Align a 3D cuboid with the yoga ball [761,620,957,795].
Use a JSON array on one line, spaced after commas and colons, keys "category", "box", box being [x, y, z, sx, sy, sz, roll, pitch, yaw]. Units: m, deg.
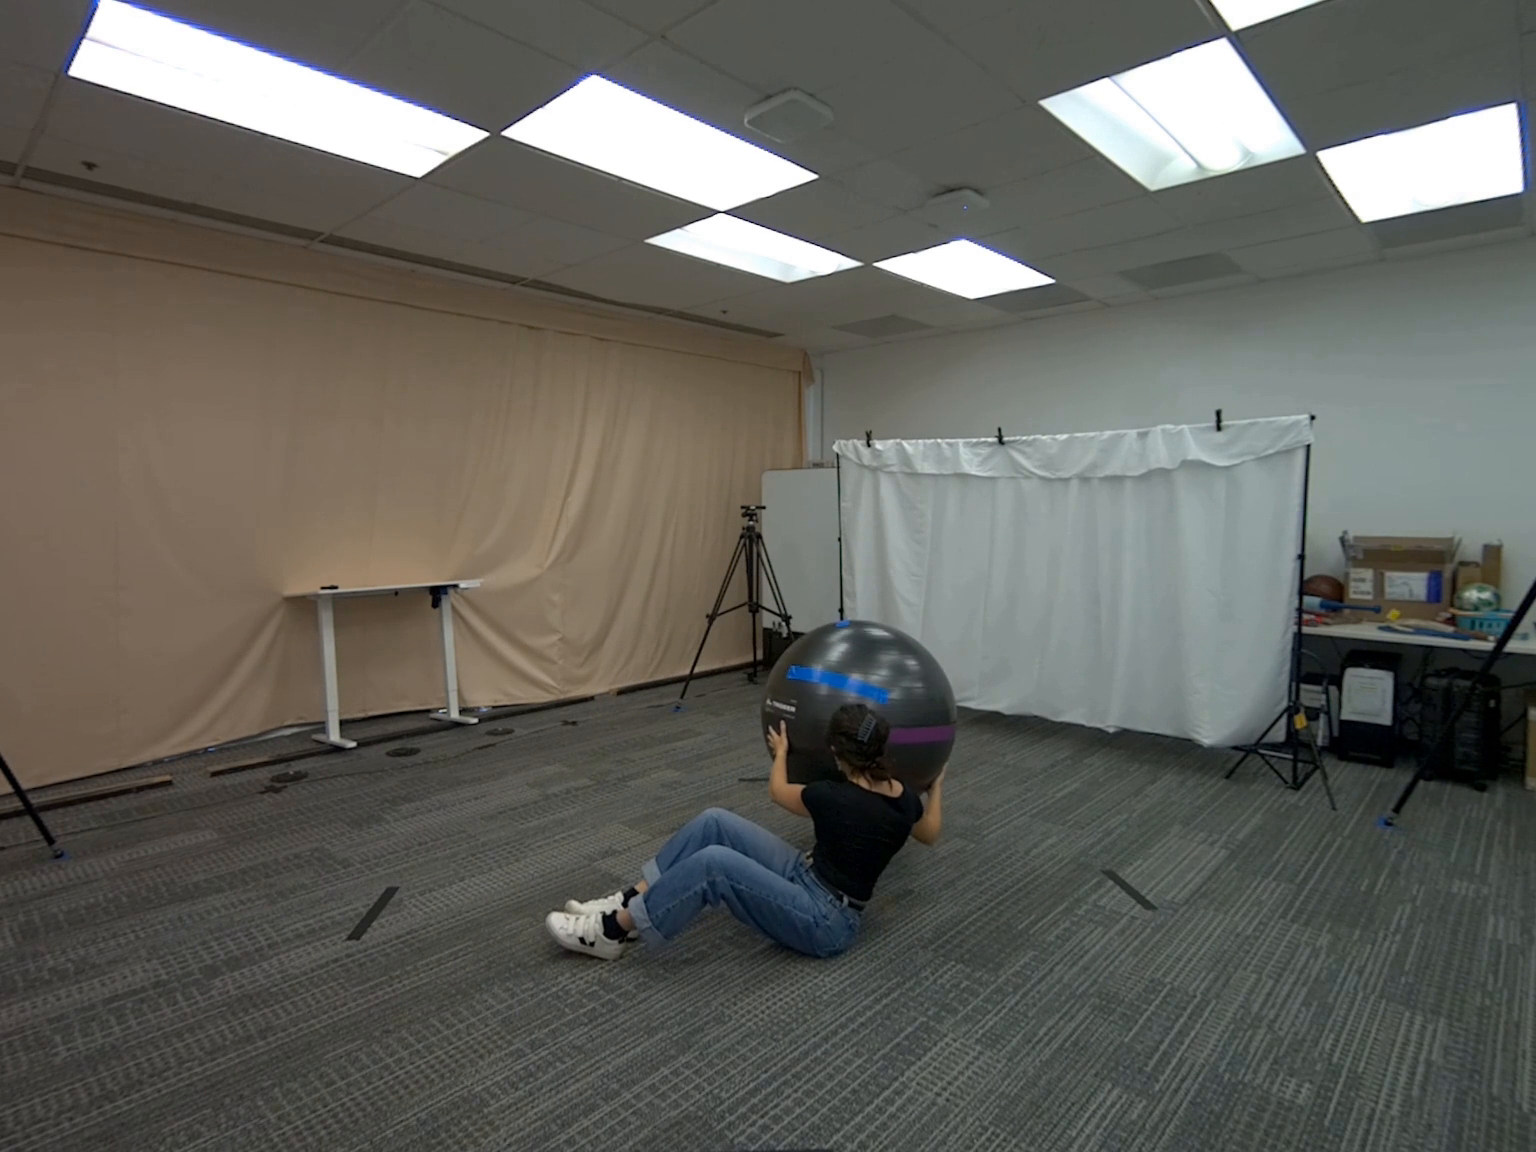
[{"category": "yoga ball", "box": [0.352, 0.556, 3.328, 0.757, 0.756, 0.761, 0, 4, -2]}]
